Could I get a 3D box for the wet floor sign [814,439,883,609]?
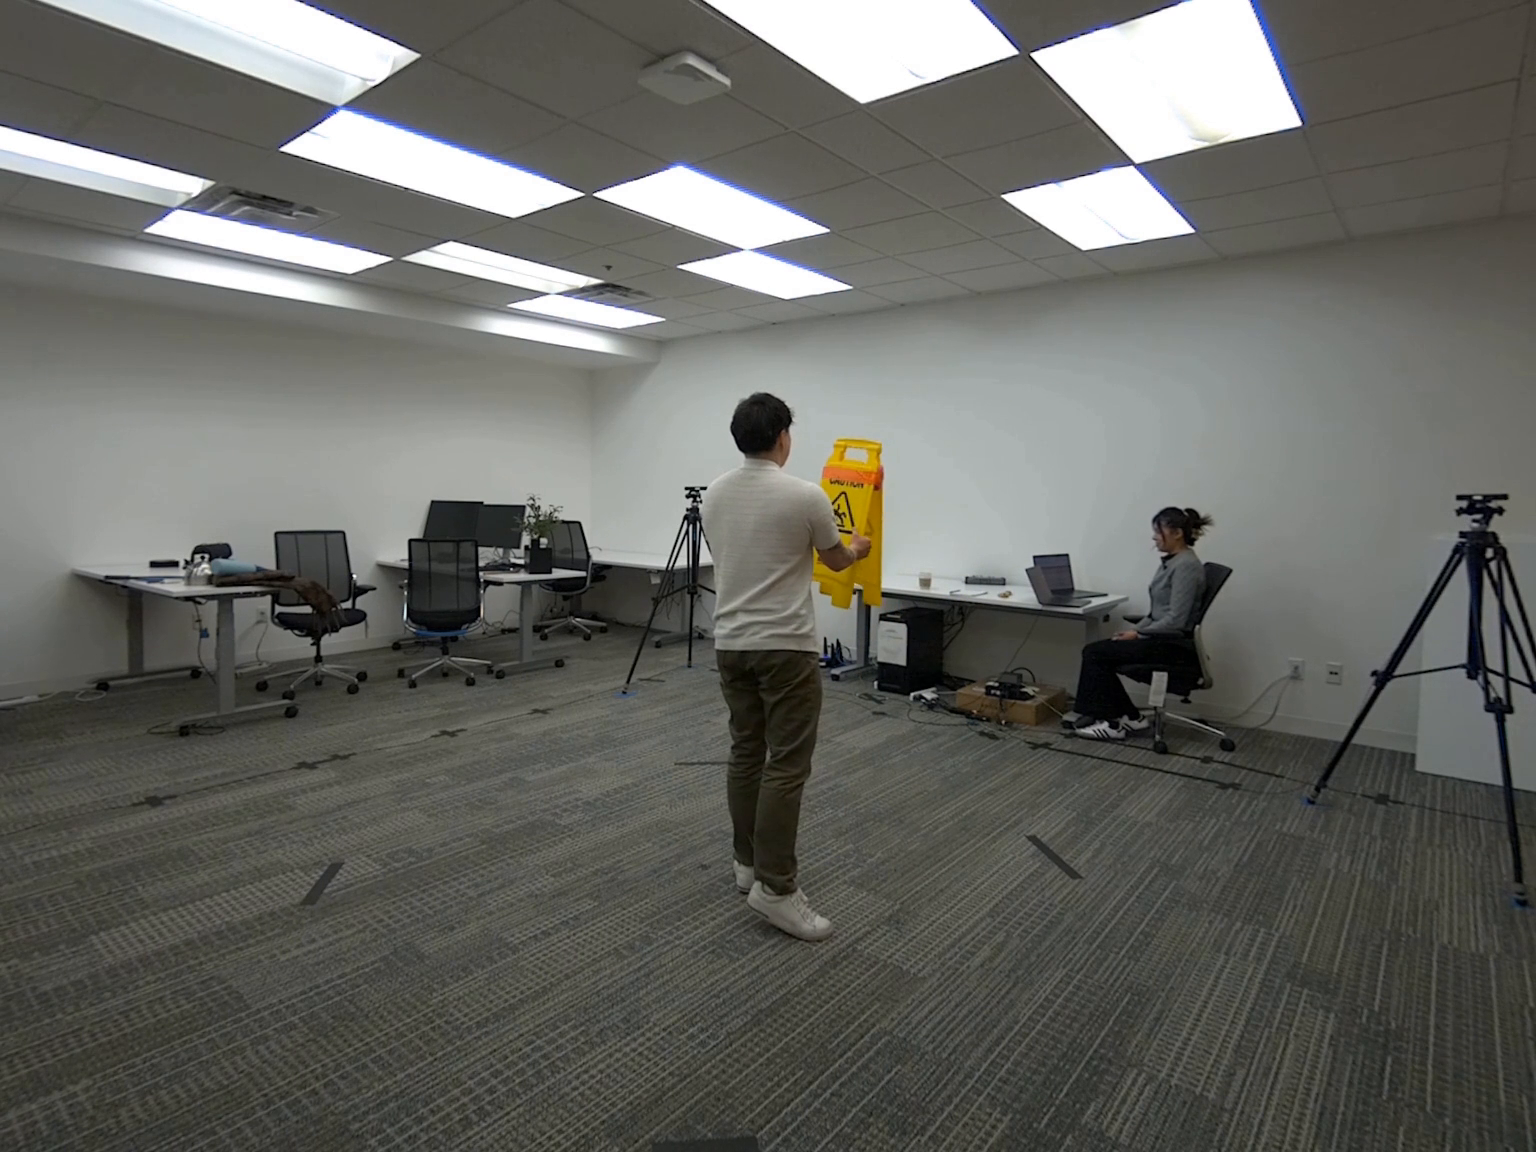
[{"bbox_3d":[0.303,-0.221,3.367,0.292,0.644,0.280,13,5,34],"label":"wet floor sign"}]
